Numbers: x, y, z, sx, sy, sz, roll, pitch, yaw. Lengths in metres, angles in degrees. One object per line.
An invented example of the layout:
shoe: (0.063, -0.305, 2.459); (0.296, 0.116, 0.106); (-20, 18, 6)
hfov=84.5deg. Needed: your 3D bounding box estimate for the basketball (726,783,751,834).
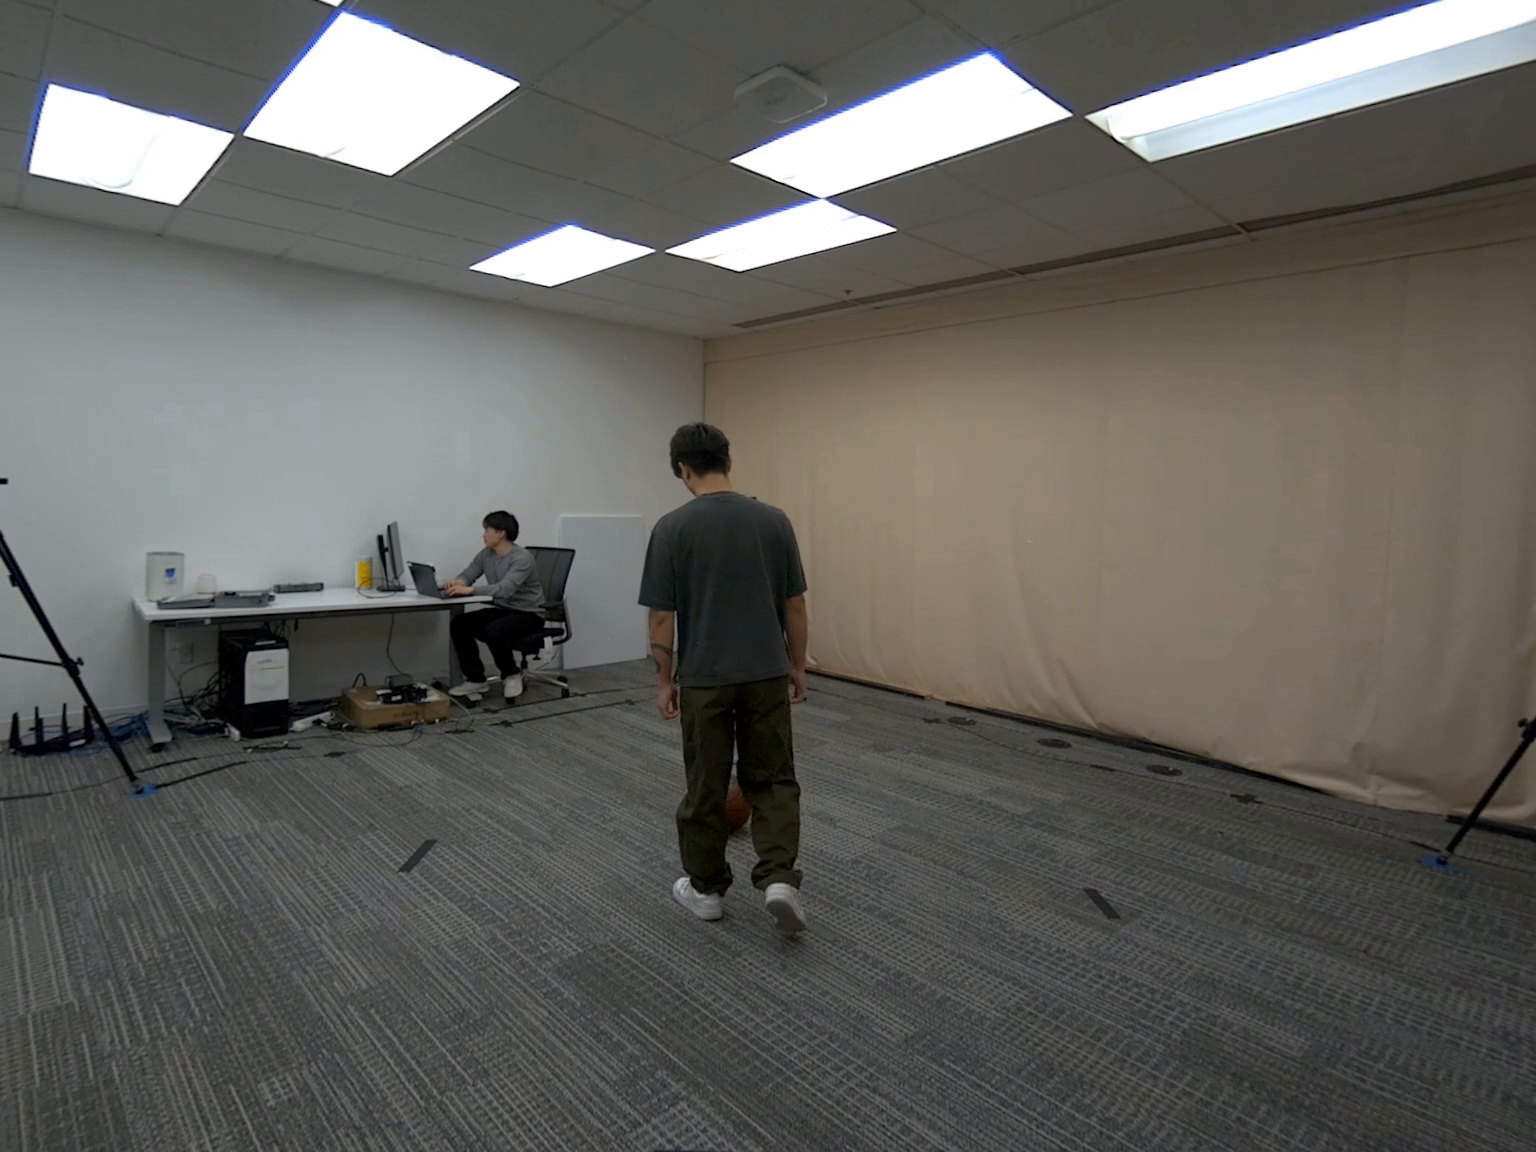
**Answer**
basketball: (-0.197, 0.951, 3.523); (0.236, 0.235, 0.237); (1, 4, -1)
